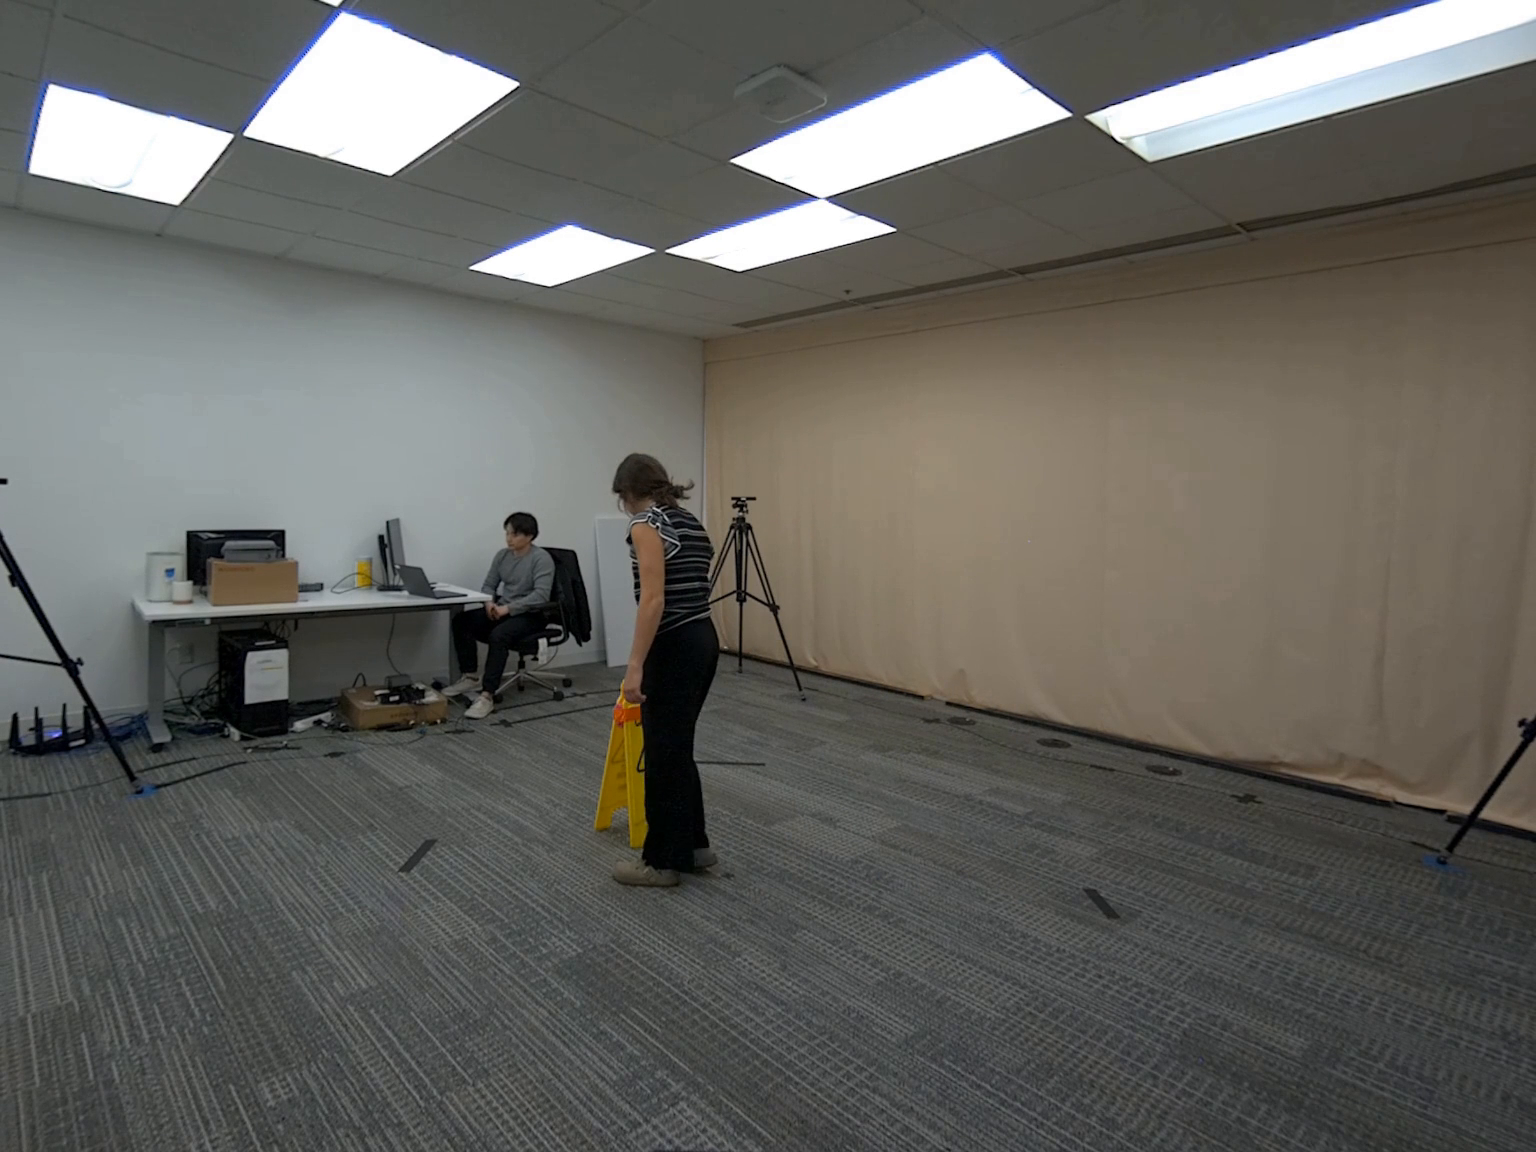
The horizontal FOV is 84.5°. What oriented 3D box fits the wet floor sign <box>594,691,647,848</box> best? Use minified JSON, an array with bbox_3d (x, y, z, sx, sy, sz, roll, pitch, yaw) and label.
[{"bbox_3d":[-0.535,0.738,3.489,0.297,0.645,0.276,2,2,43],"label":"wet floor sign"}]
